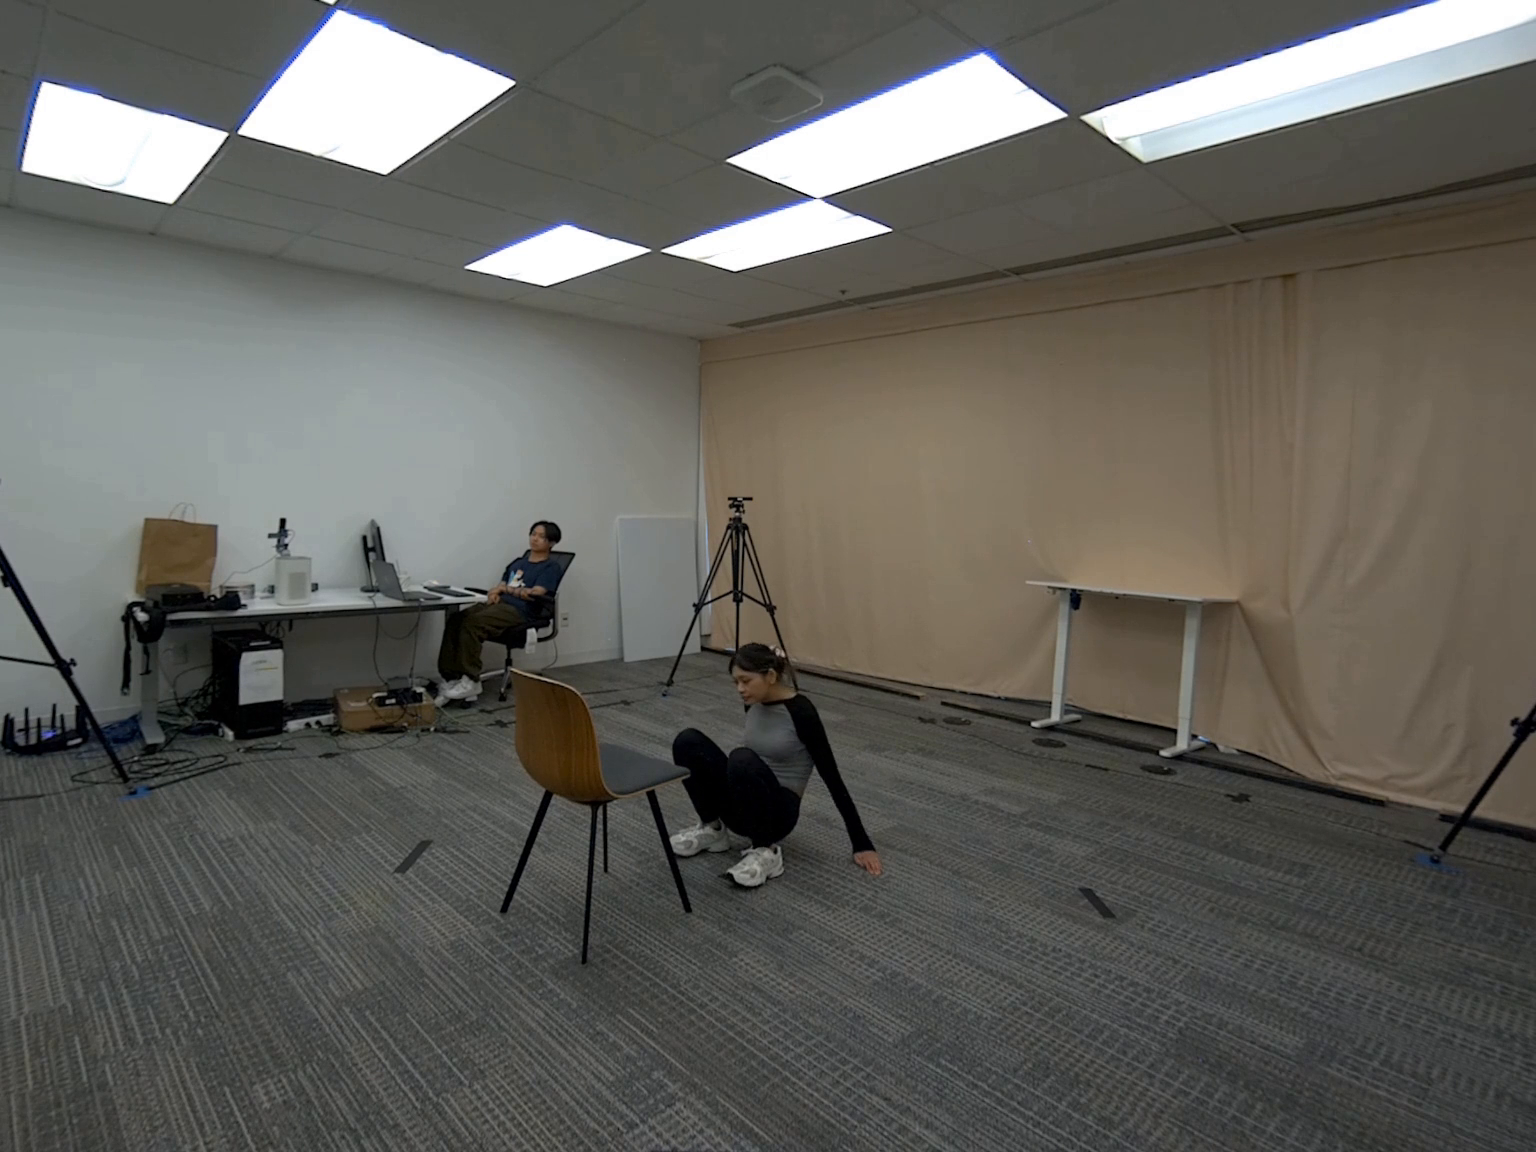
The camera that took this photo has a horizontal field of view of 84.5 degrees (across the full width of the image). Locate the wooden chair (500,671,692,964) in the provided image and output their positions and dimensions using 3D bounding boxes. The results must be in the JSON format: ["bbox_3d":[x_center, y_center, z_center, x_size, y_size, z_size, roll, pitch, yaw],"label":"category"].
[{"bbox_3d":[-0.561,0.700,2.783,0.490,0.873,0.513,4,9,41],"label":"wooden chair"}]
